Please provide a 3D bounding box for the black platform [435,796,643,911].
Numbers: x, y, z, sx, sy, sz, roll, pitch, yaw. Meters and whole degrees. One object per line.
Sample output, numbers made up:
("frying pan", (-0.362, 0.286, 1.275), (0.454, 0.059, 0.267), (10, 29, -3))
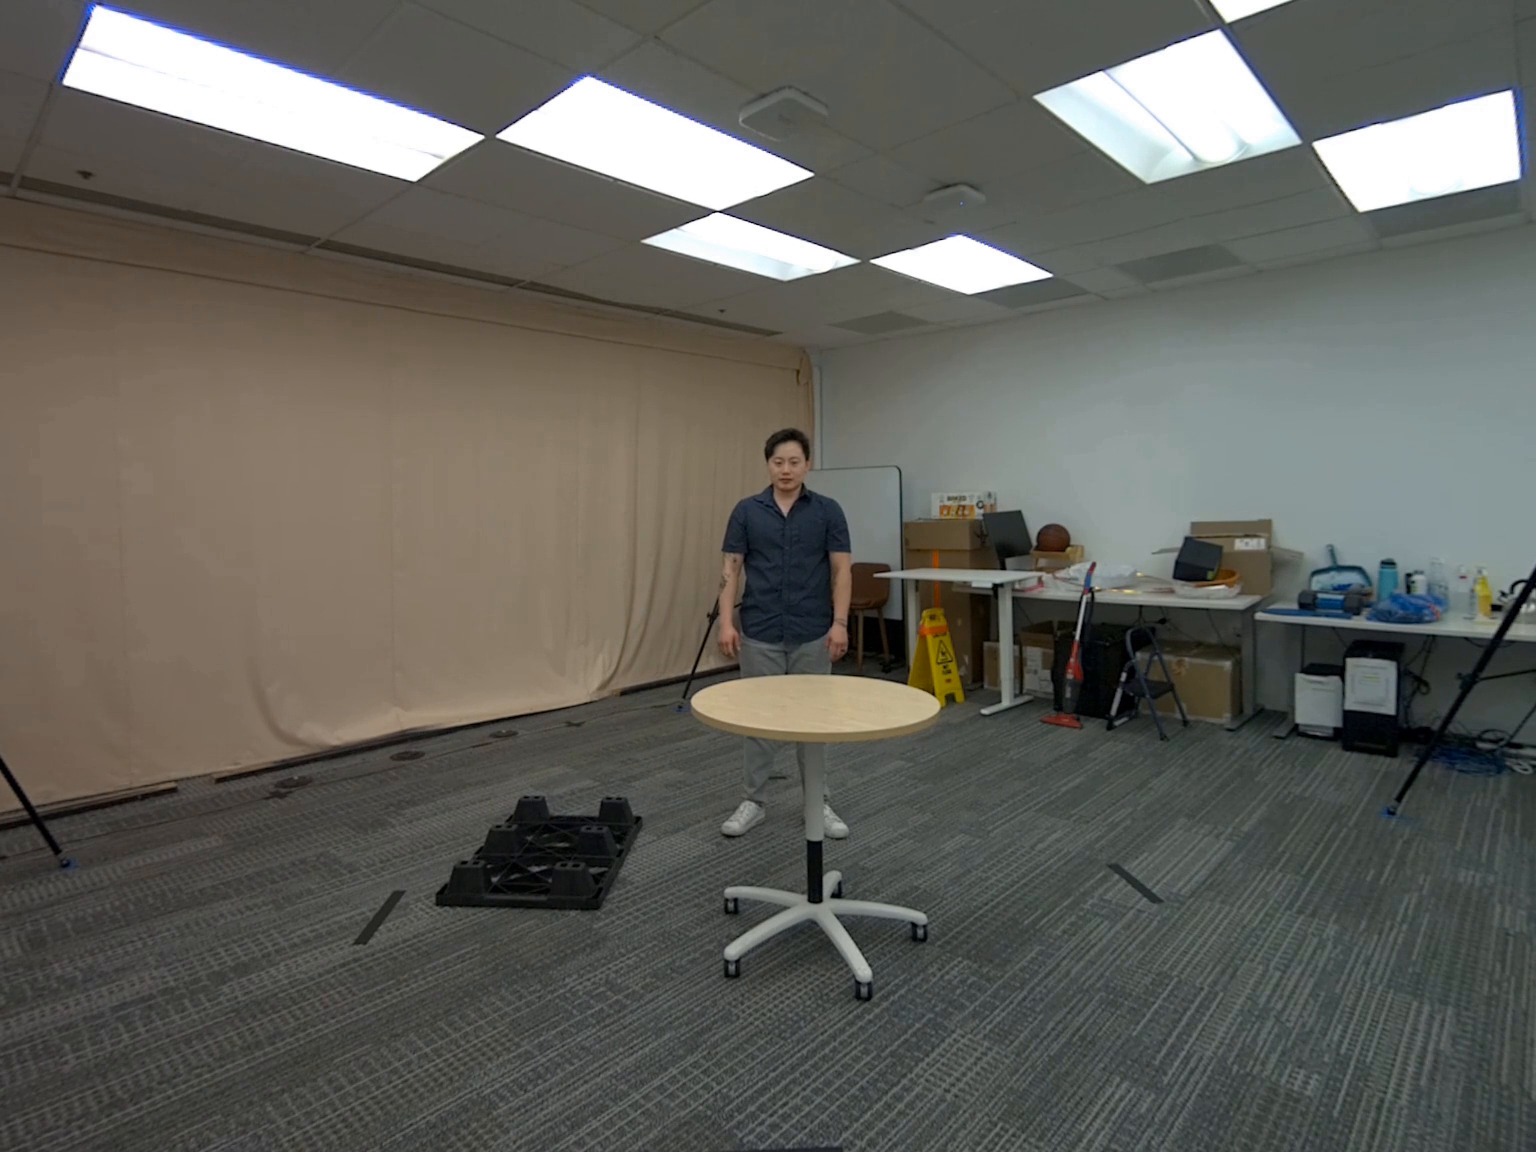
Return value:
("black platform", (-0.872, 1.063, 3.334), (0.608, 0.143, 0.803), (-1, 5, 4))
